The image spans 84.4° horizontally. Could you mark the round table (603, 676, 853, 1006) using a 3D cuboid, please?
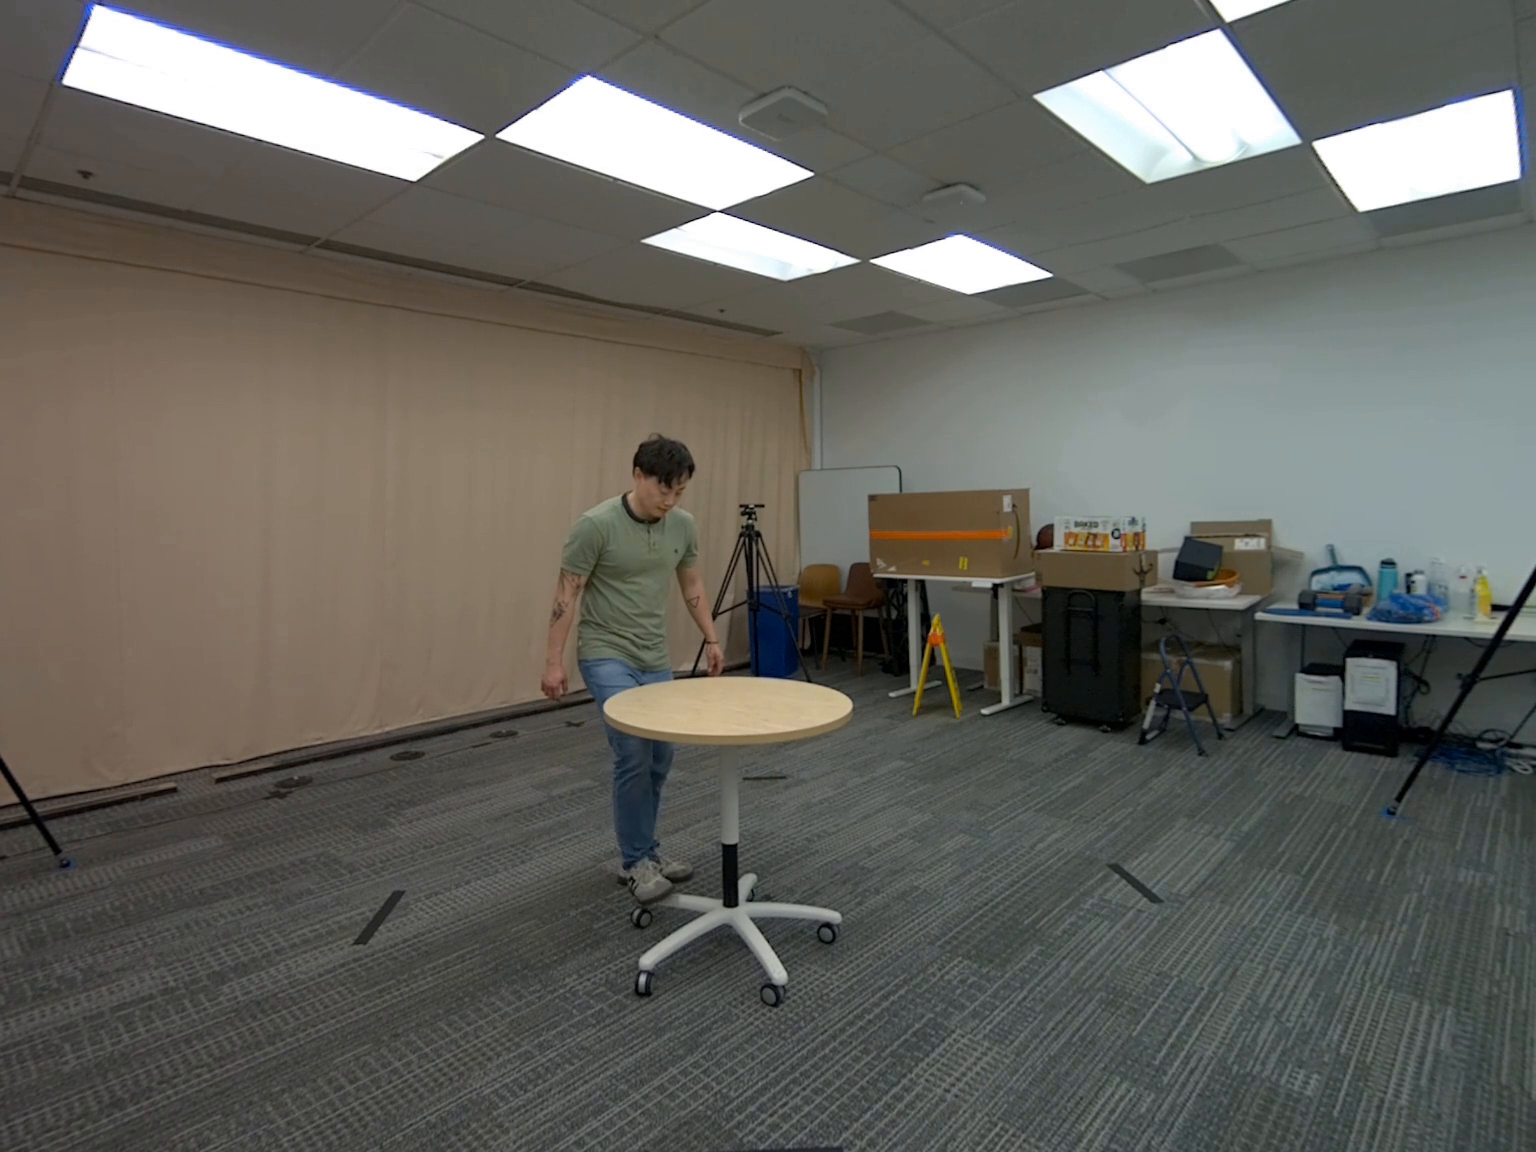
[{"bbox_3d":[-0.116,0.785,2.615,0.763,0.792,0.767,-1,4,-2],"label":"round table"}]
